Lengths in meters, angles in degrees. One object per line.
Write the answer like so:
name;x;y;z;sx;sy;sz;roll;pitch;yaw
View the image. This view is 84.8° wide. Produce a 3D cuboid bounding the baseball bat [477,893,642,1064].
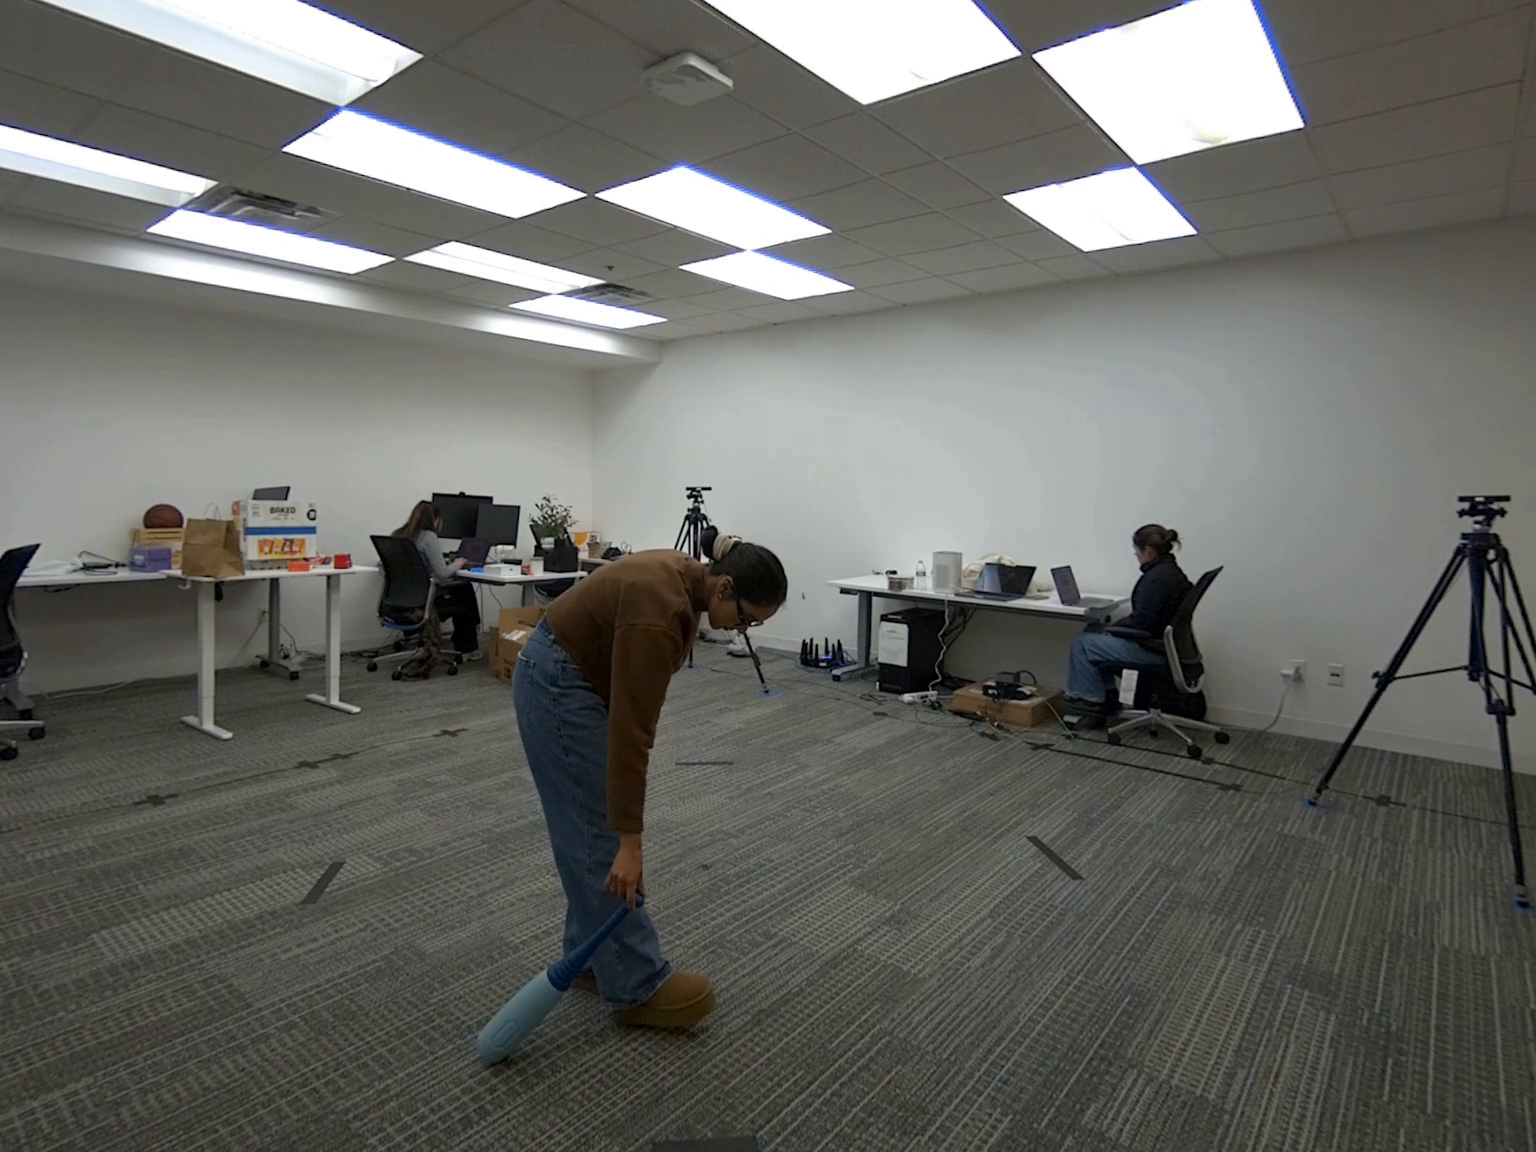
baseball bat;-0.496;0.954;2.034;0.088;0.543;0.090;43;5;-7
